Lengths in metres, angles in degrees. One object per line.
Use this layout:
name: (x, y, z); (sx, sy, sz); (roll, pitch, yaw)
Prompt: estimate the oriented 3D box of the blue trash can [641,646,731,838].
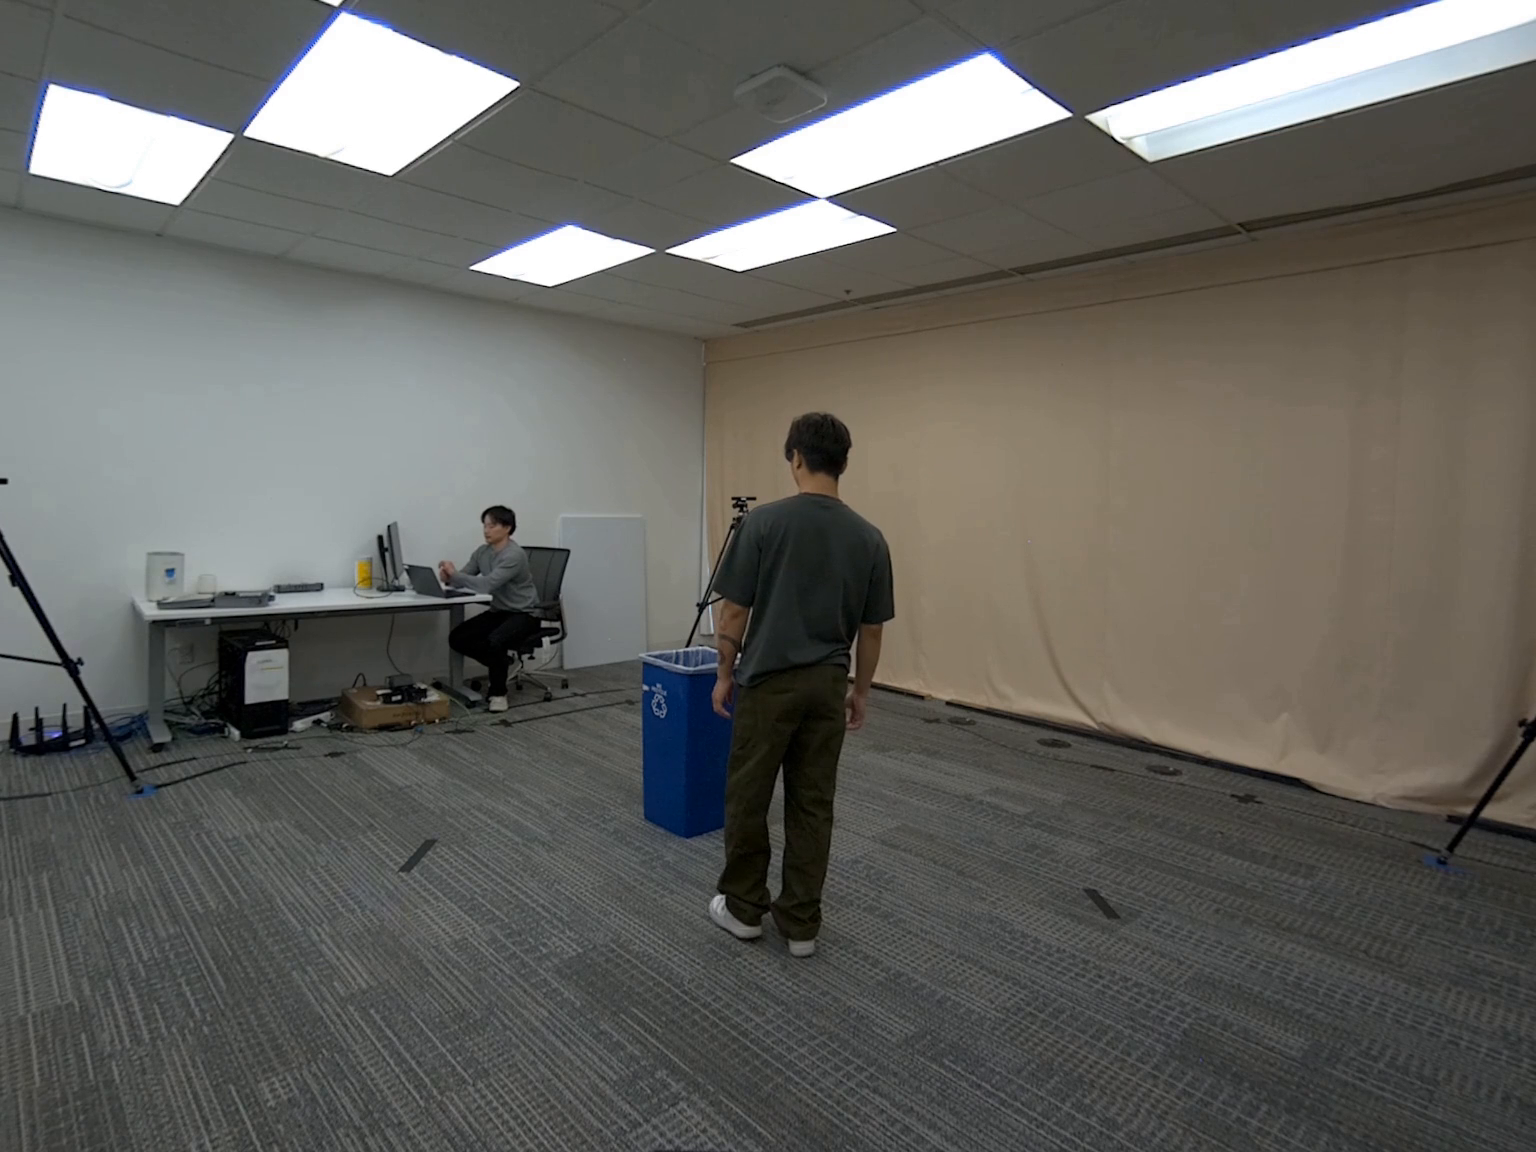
blue trash can: (-0.321, 0.699, 3.617); (0.369, 0.712, 0.383); (-2, 4, -43)
